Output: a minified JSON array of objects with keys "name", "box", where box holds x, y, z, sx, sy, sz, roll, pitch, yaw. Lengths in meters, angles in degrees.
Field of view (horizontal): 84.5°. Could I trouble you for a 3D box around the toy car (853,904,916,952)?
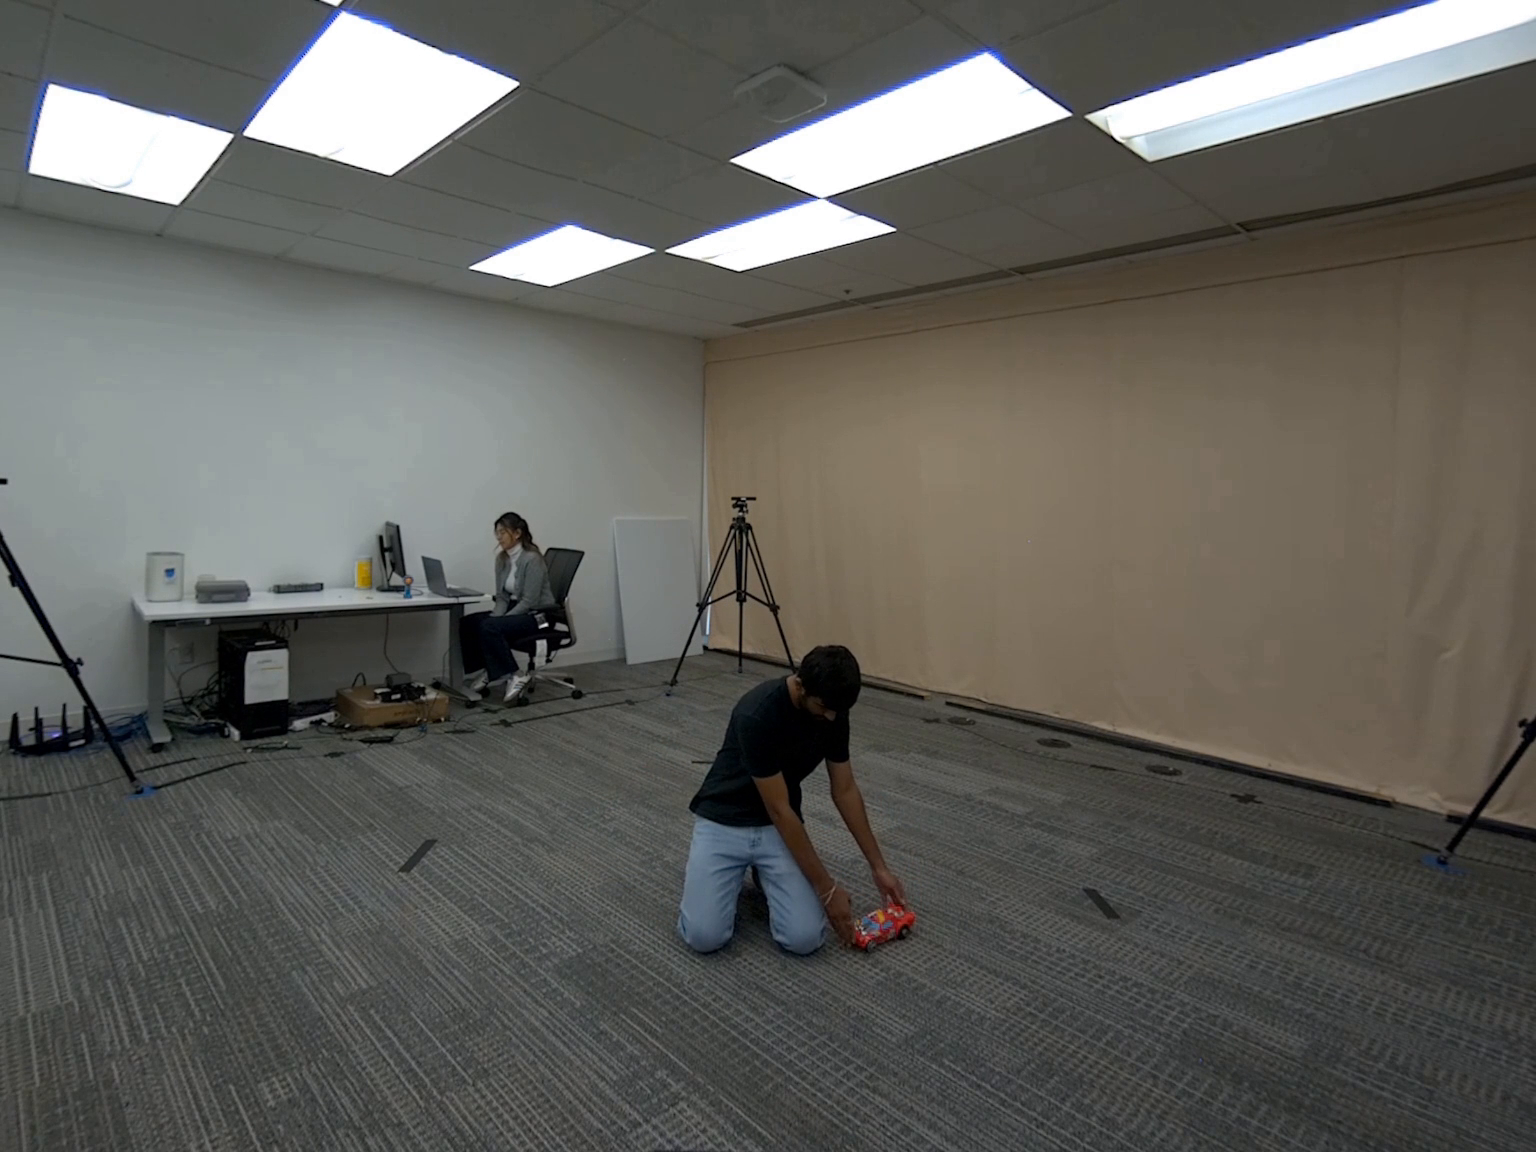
[{"name":"toy car","box":[0.358,1.124,2.683,0.250,0.082,0.133,-15,14,-35]}]
